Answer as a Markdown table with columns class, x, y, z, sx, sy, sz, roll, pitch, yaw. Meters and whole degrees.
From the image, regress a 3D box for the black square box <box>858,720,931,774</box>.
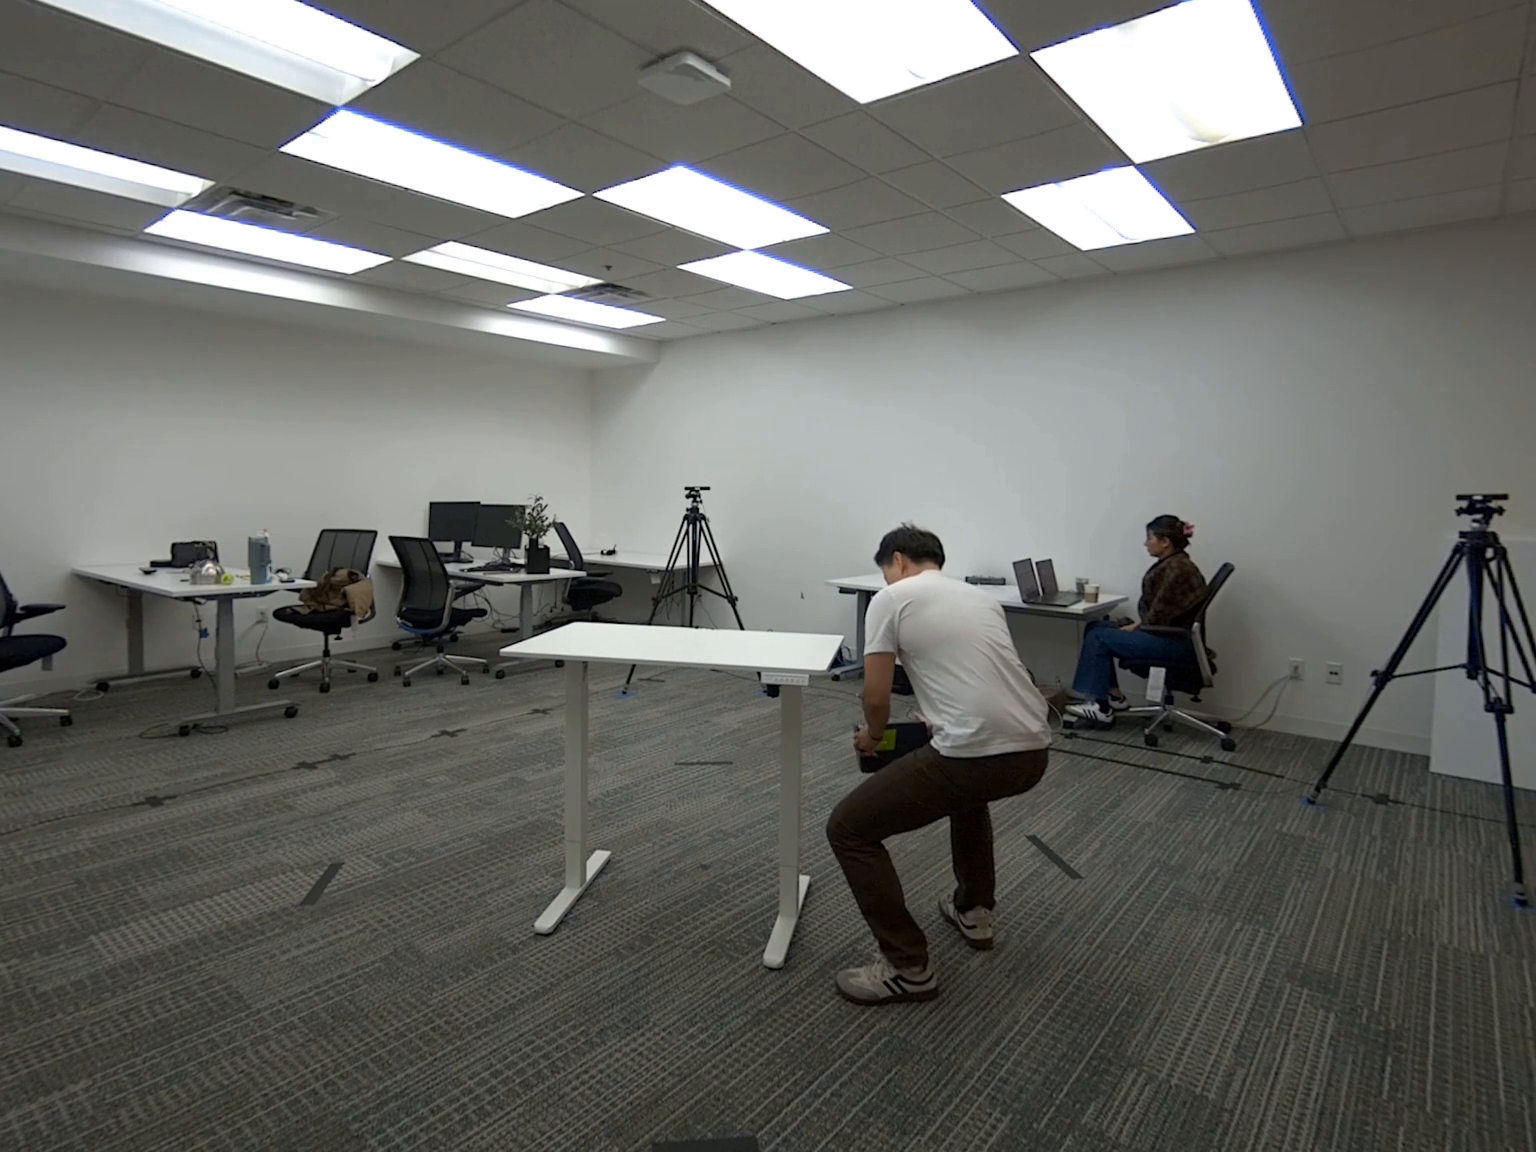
| class | x | y | z | sx | sy | sz | roll | pitch | yaw |
| --- | --- | --- | --- | --- | --- | --- | --- | --- | --- |
| black square box | 0.417 | 0.580 | 2.921 | 0.229 | 0.157 | 0.214 | -1 | -8 | 3 |
